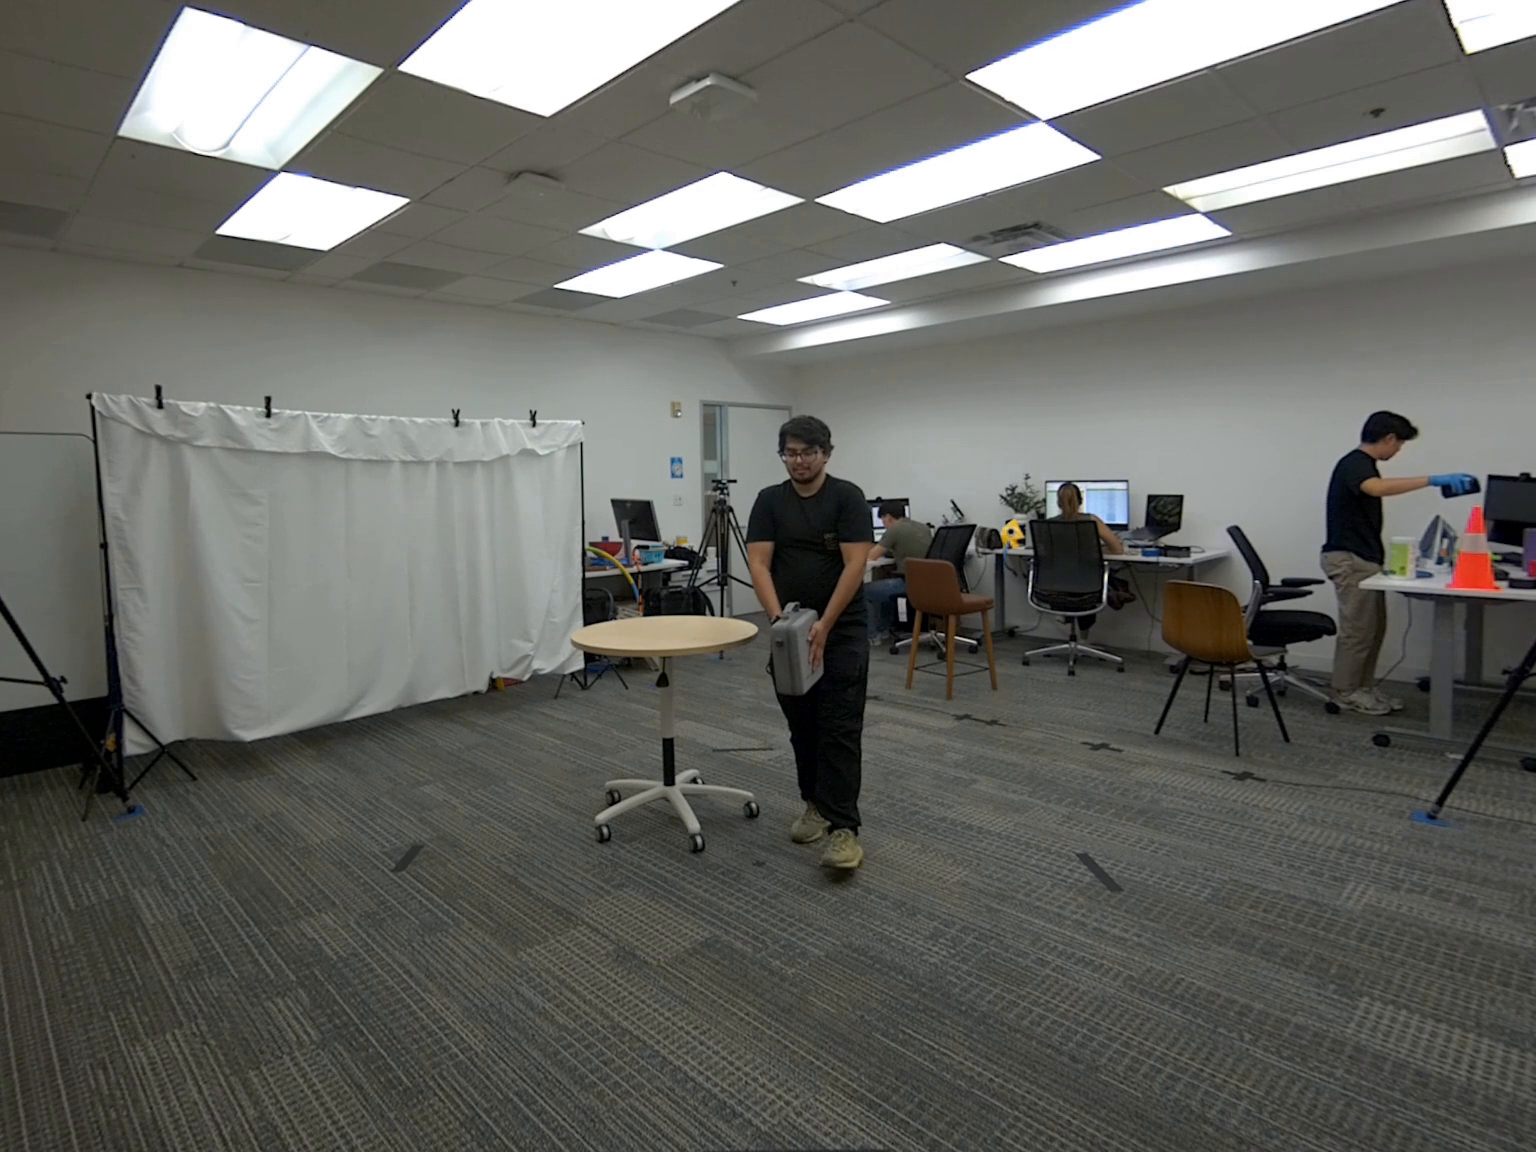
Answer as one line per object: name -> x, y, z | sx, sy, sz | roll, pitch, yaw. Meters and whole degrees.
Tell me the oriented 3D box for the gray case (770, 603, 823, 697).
gray case -> 0.097, 0.263, 2.971 | 0.106, 0.259, 0.254 | -6, 7, 20
